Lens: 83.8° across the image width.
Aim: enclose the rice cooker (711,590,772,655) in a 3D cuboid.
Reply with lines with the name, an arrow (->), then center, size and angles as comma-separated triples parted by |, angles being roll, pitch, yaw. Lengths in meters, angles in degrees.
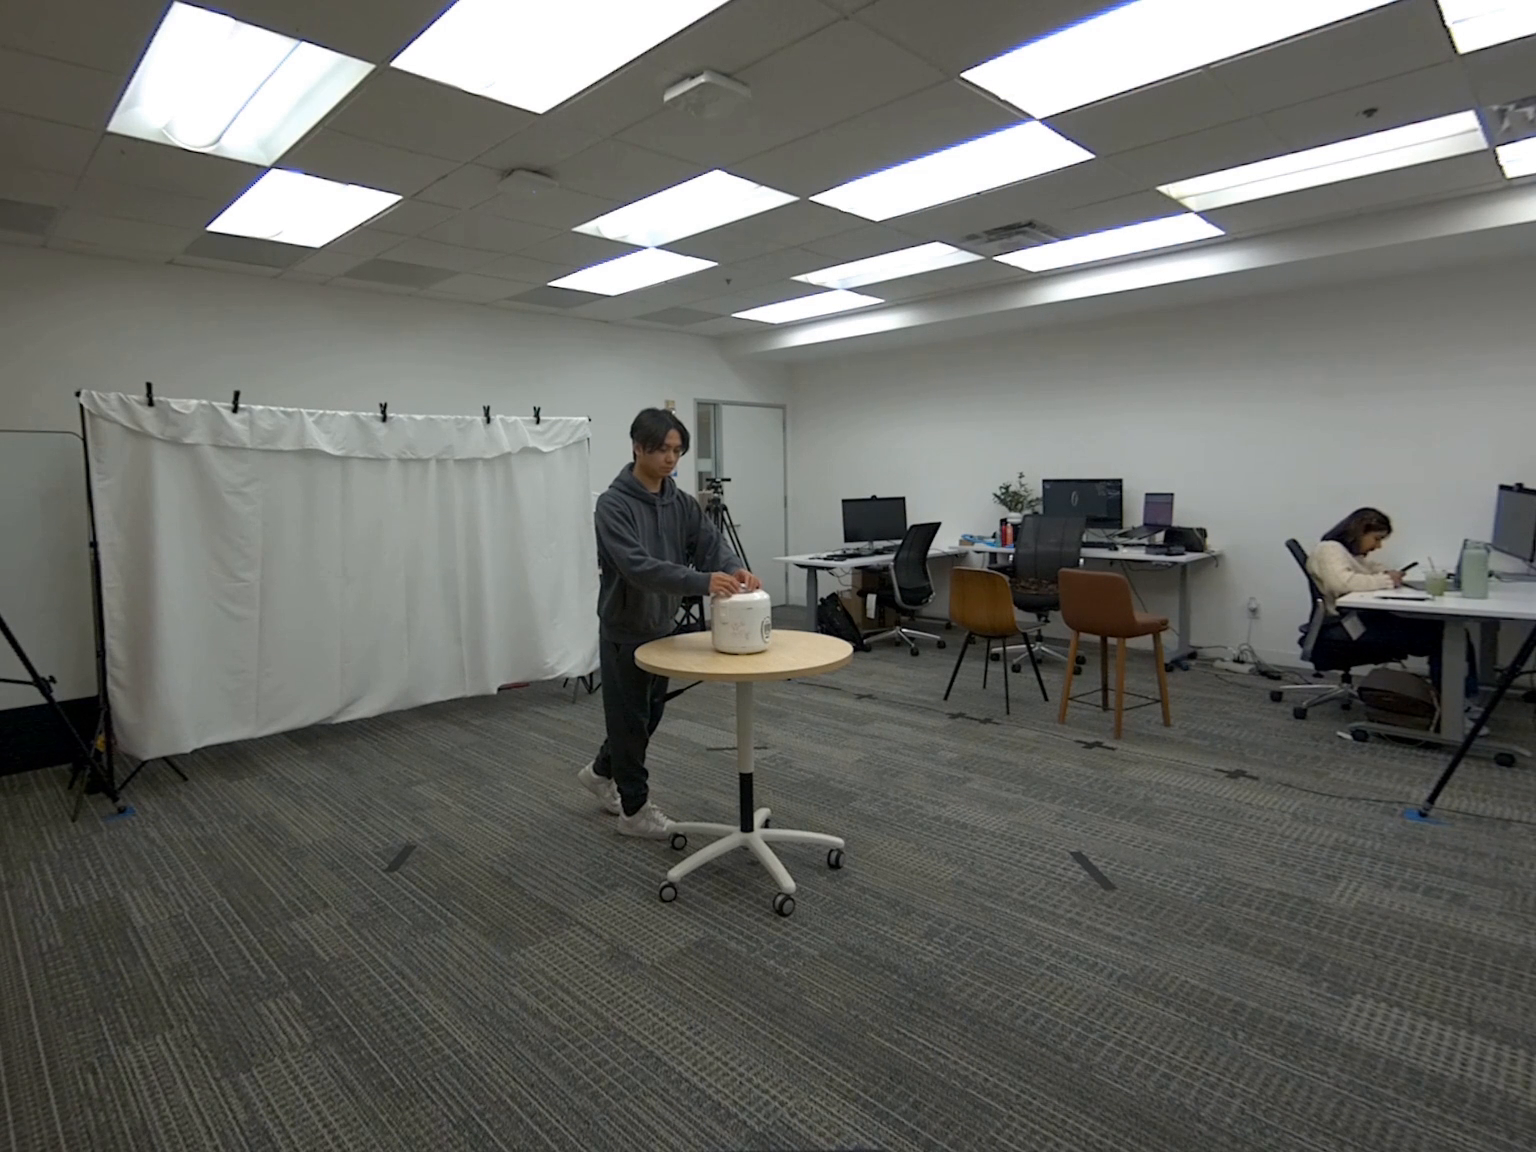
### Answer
rice cooker -> -0.094, 0.142, 2.985 | 0.223, 0.232, 0.215 | -1, 5, 35
